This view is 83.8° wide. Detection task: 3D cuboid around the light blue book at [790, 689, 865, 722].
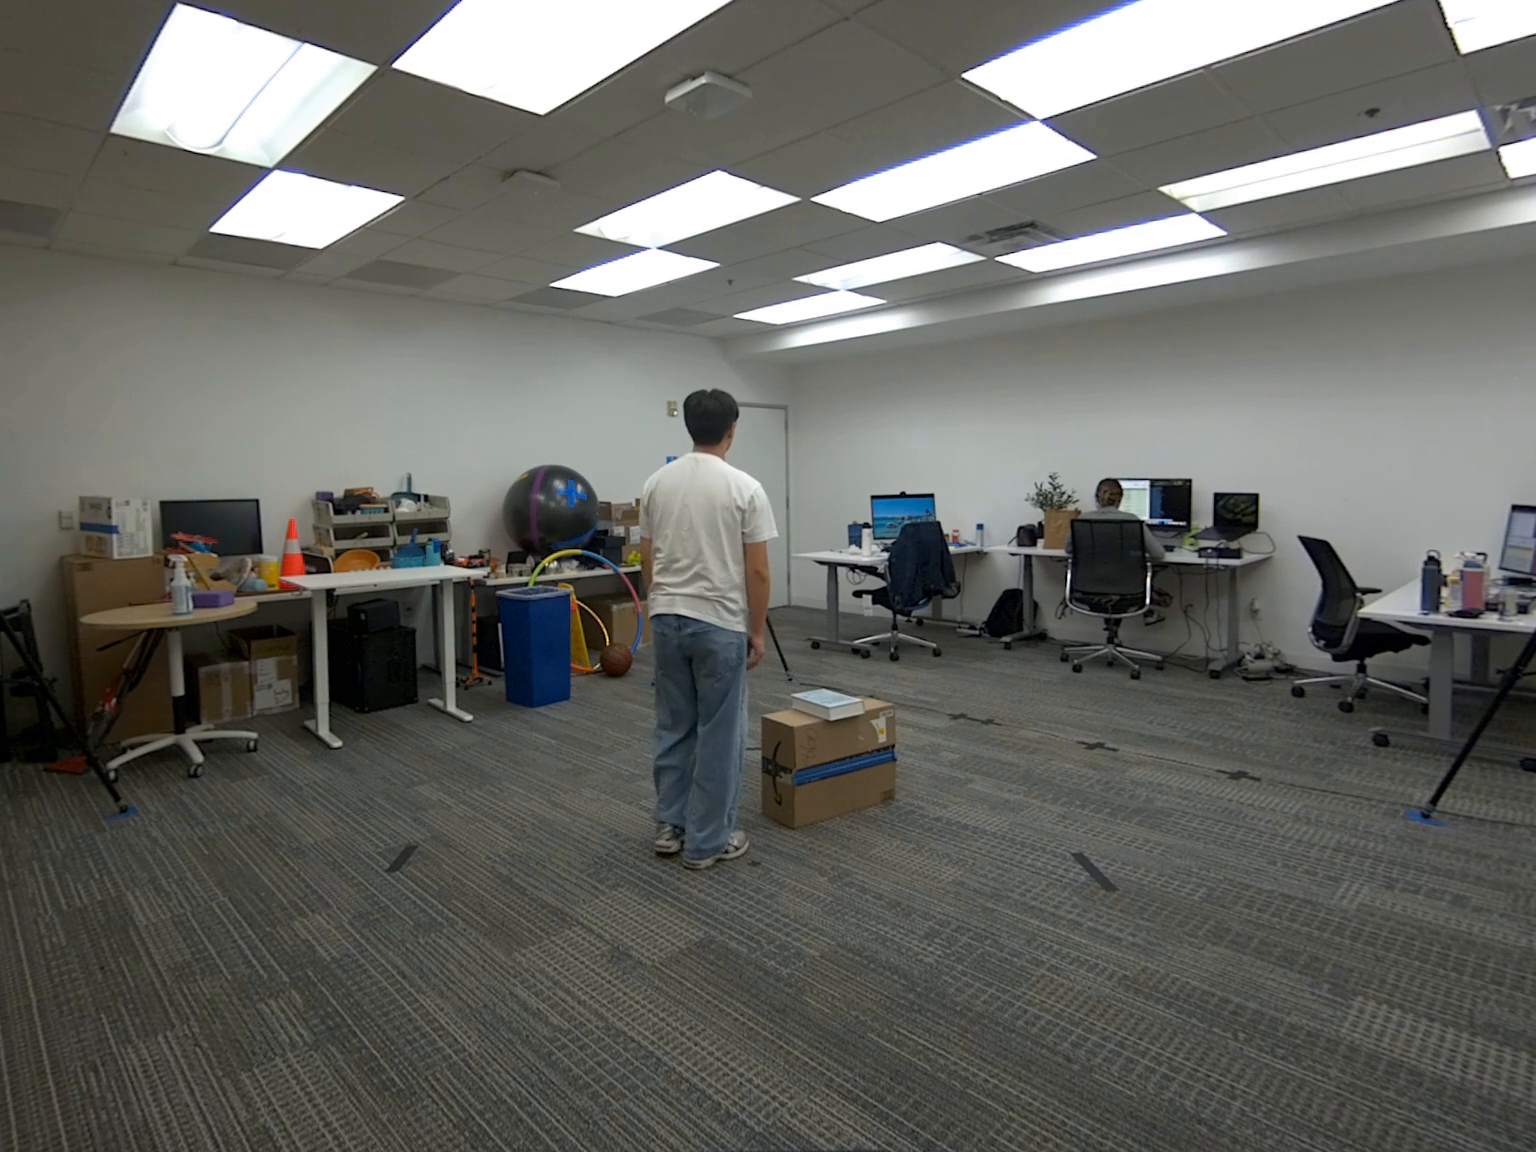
[{"bbox_3d":[0.253,0.540,3.606,0.187,0.059,0.268,-6,7,-34],"label":"light blue book"}]
